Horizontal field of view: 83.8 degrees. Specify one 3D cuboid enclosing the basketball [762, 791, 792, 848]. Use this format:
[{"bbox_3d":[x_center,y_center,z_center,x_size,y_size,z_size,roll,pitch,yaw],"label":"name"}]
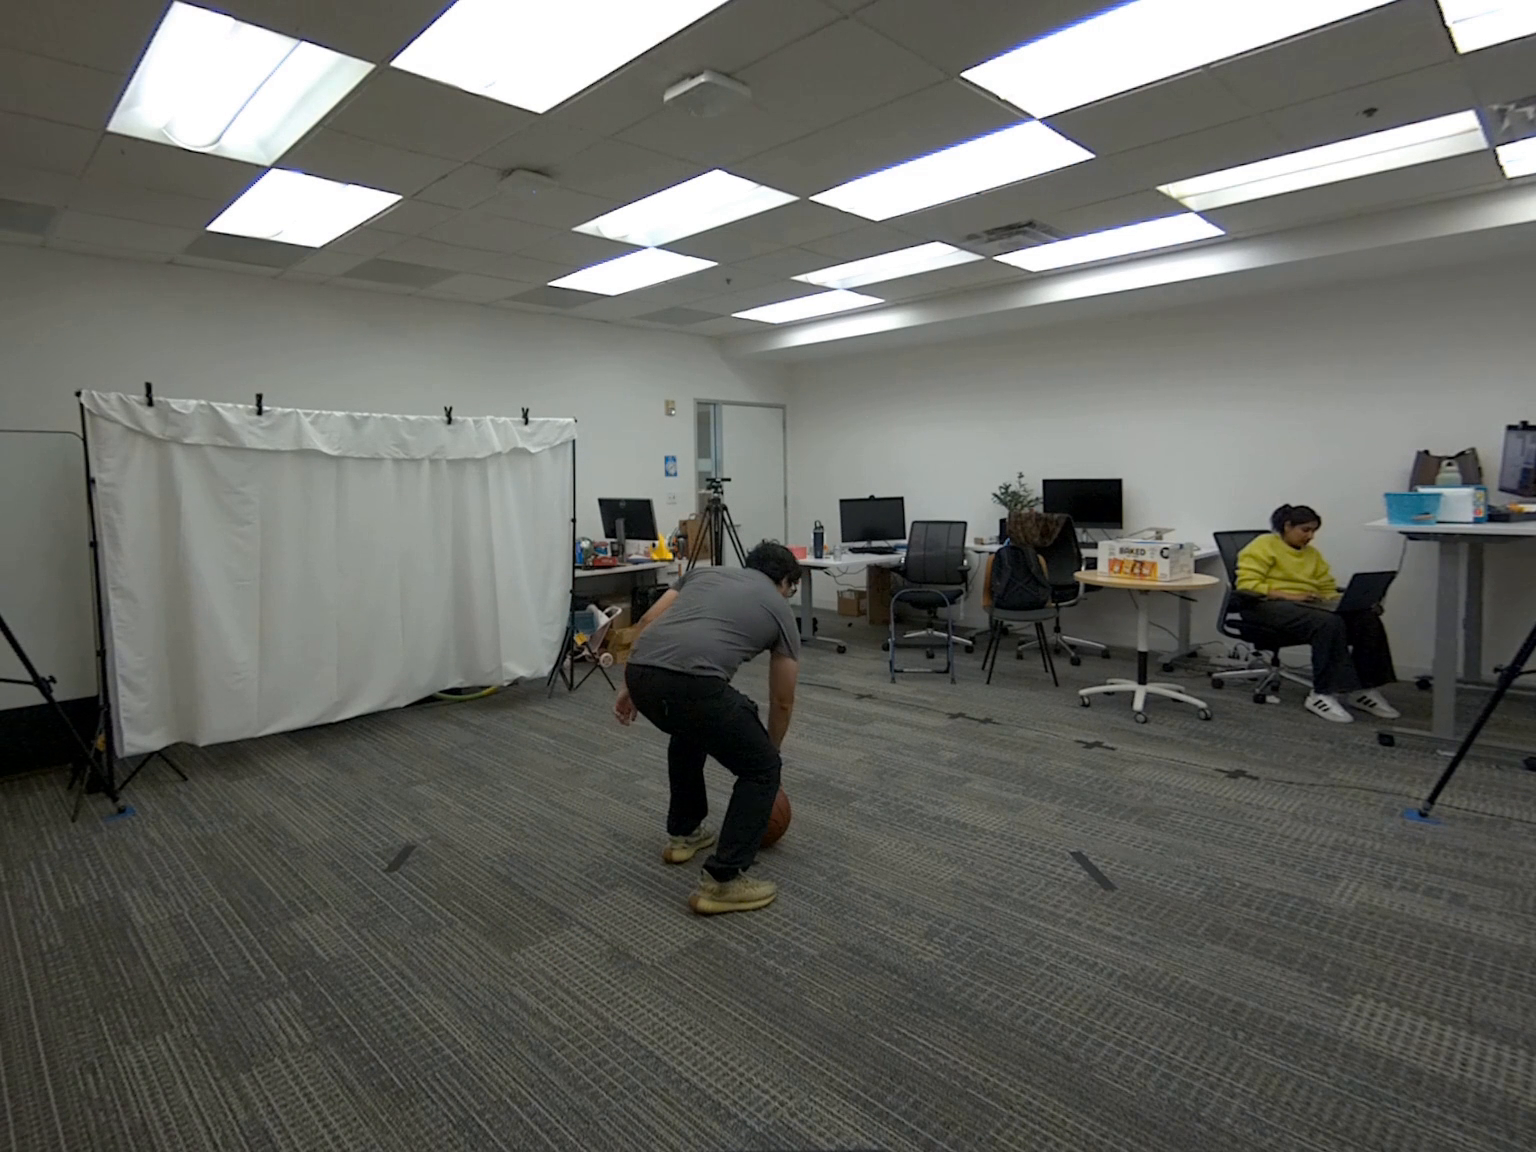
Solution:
[{"bbox_3d":[-0.027,0.907,3.270,0.236,0.235,0.237,-1,5,-2],"label":"basketball"}]
